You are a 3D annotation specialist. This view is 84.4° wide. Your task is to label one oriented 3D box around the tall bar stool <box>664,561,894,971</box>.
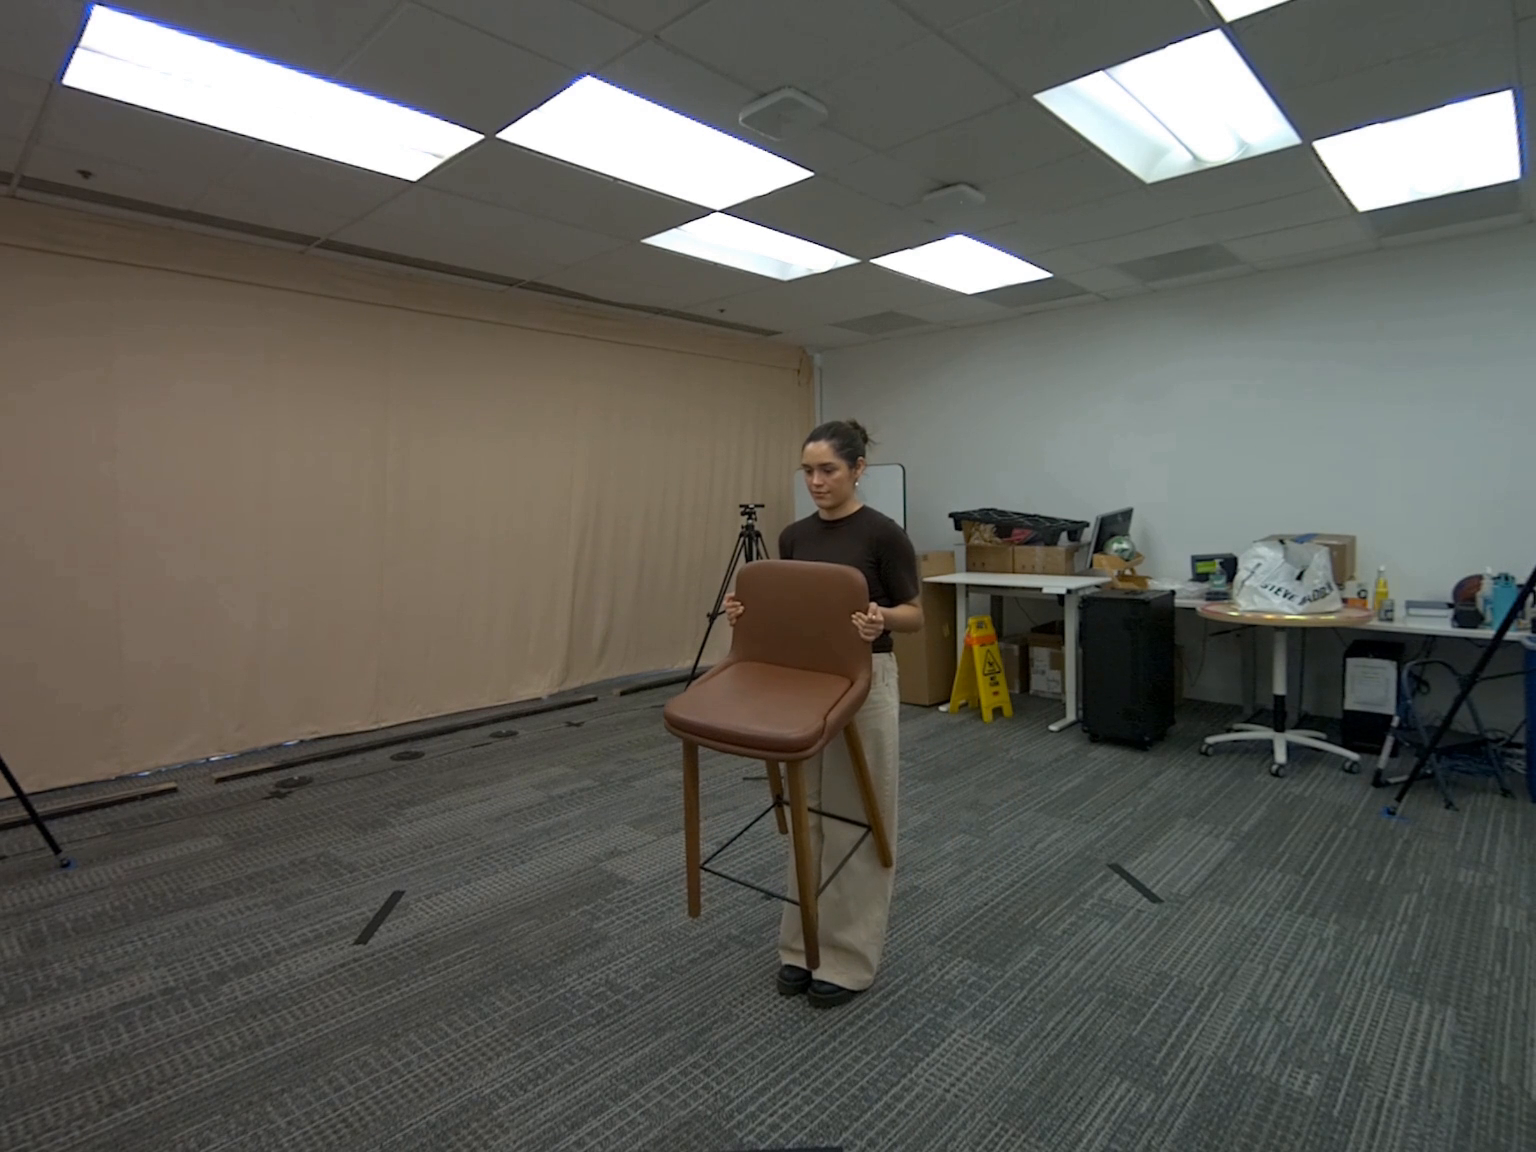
[{"bbox_3d":[0.029,0.457,2.196,0.471,0.881,0.457,5,18,37],"label":"tall bar stool"}]
